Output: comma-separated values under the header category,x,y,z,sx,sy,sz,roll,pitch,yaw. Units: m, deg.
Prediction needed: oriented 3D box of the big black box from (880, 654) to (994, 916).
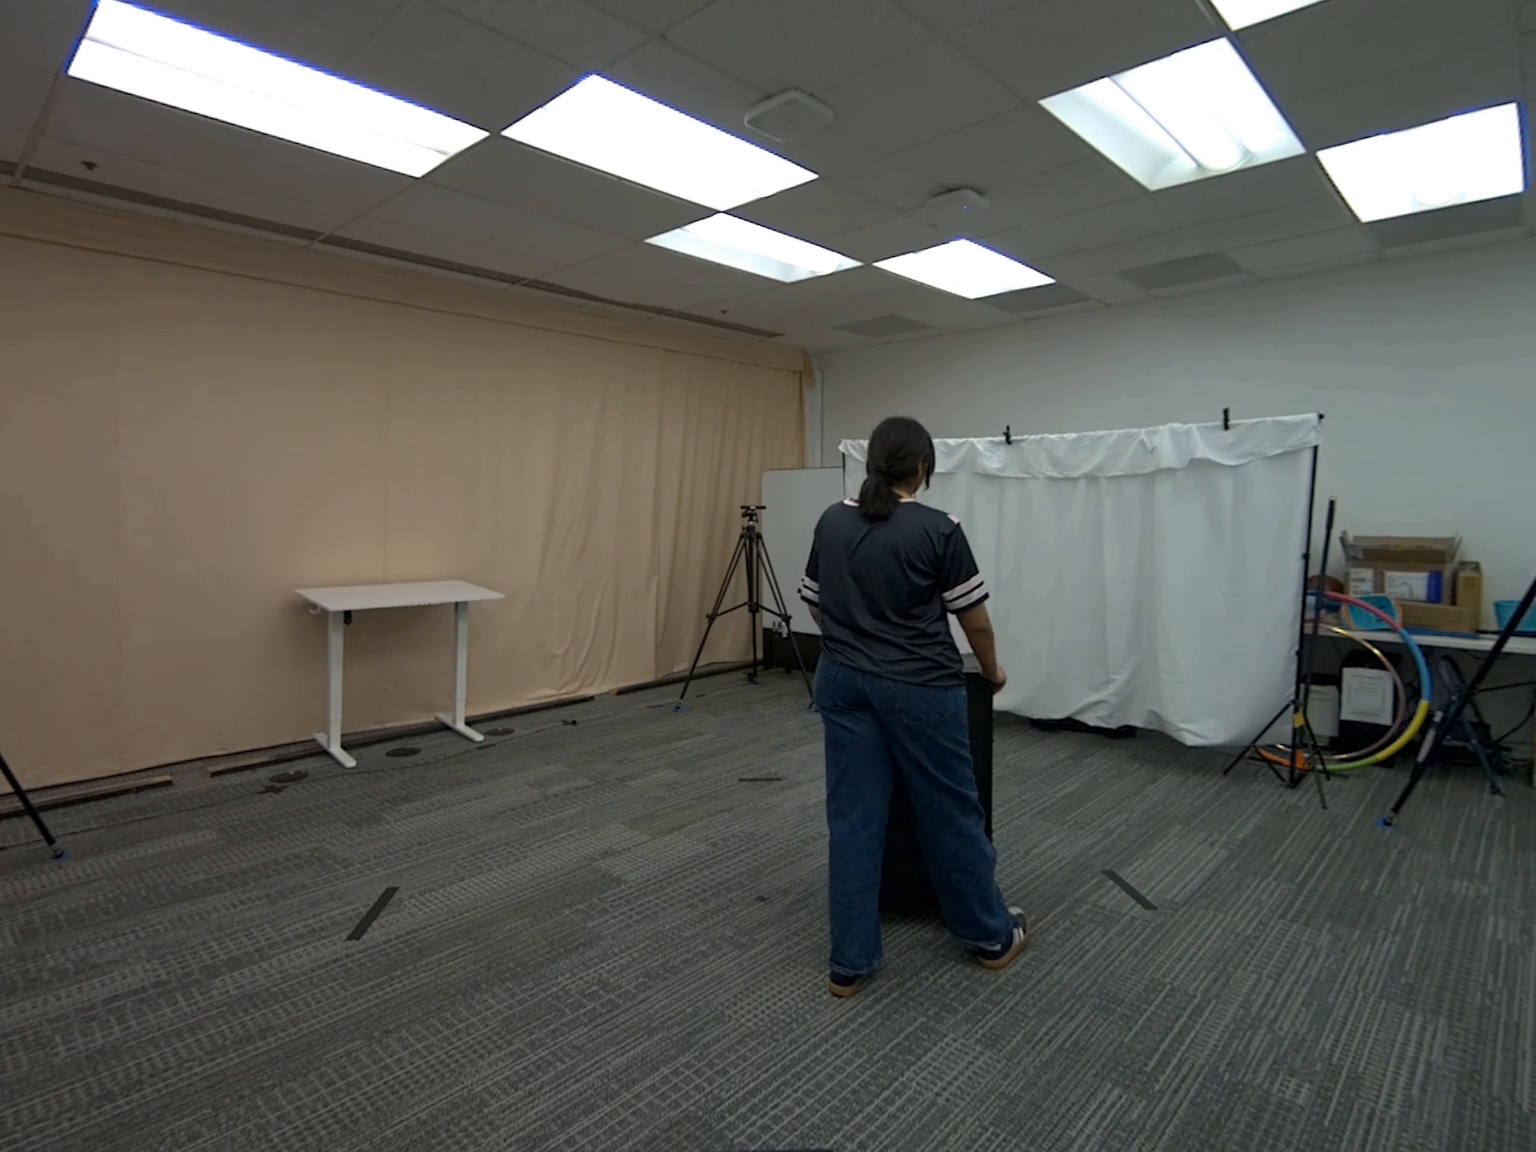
category,x,y,z,sx,sy,sz,roll,pitch,yaw
big black box,0.502,0.719,2.938,0.527,0.867,0.383,1,2,5
